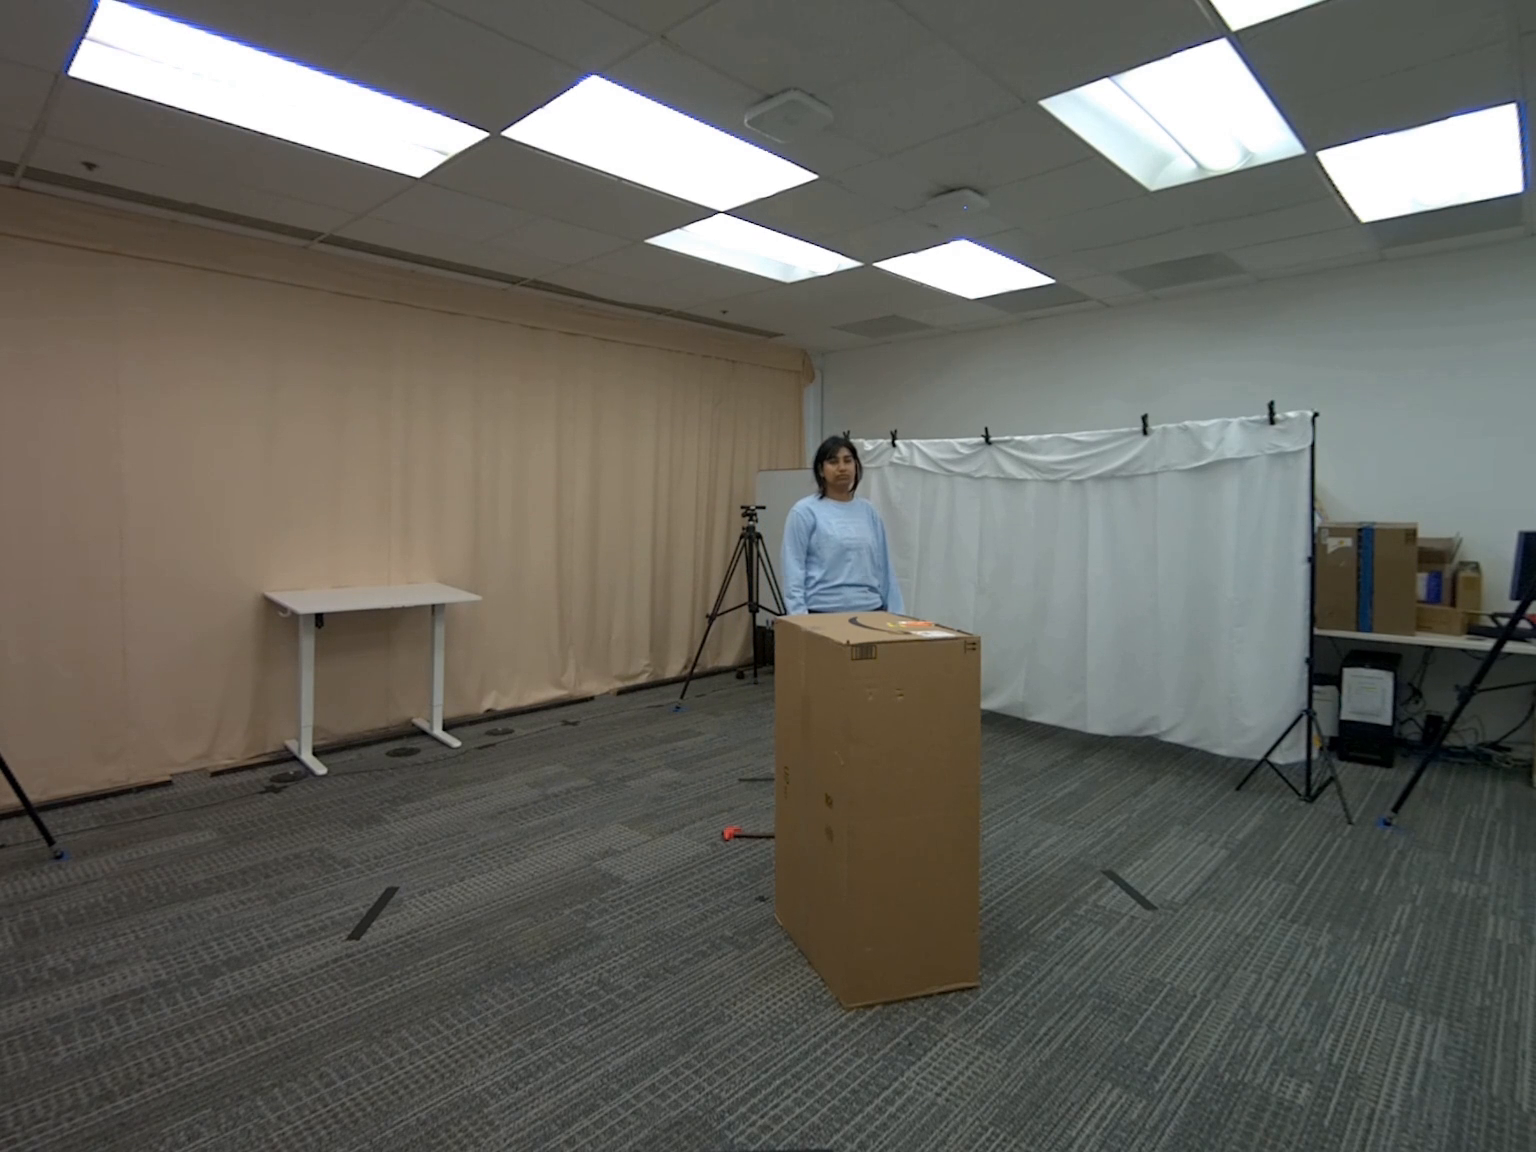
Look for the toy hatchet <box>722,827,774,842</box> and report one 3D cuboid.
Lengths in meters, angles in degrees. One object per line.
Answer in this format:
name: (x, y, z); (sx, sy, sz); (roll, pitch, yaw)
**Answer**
toy hatchet: (-0.066, 1.084, 3.568); (0.266, 0.029, 0.133); (1, 2, -13)
